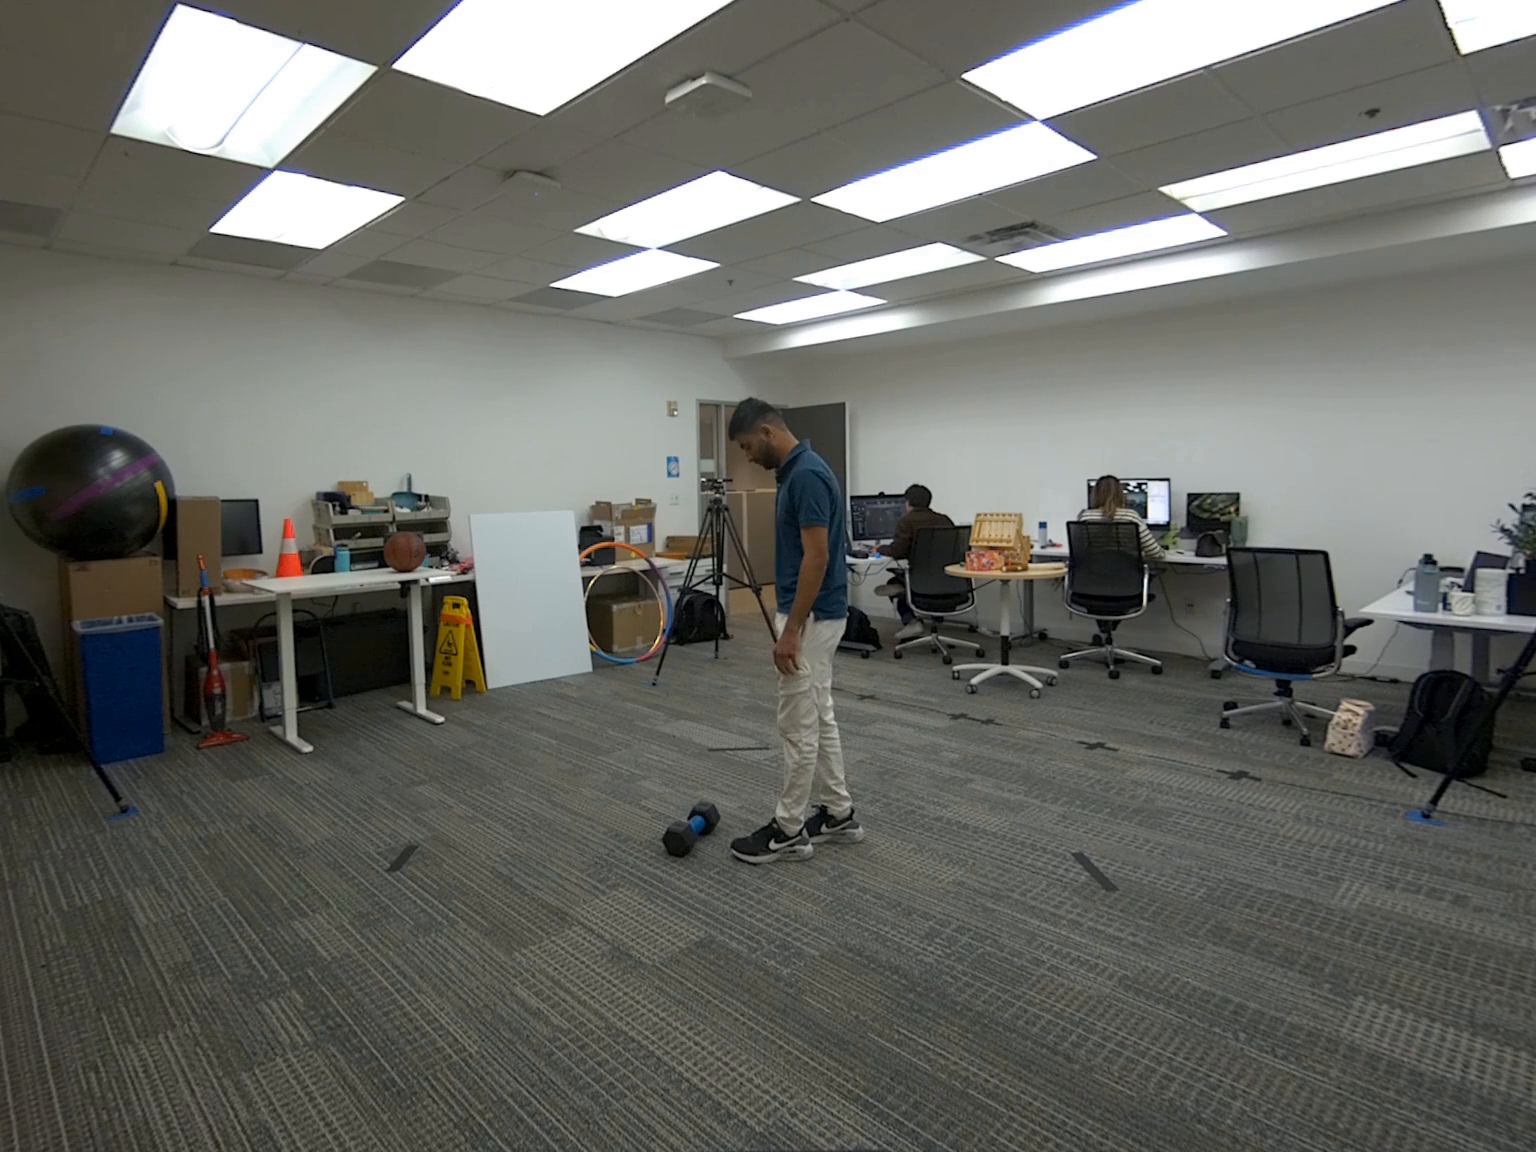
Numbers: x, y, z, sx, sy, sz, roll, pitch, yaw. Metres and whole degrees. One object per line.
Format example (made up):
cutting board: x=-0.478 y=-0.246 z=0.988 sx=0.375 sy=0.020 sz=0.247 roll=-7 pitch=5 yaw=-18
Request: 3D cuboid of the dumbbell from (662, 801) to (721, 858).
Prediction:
dumbbell: x=-0.286 y=0.973 z=3.299 sx=0.109 sy=0.124 sz=0.289 roll=-33 pitch=-6 yaw=22
